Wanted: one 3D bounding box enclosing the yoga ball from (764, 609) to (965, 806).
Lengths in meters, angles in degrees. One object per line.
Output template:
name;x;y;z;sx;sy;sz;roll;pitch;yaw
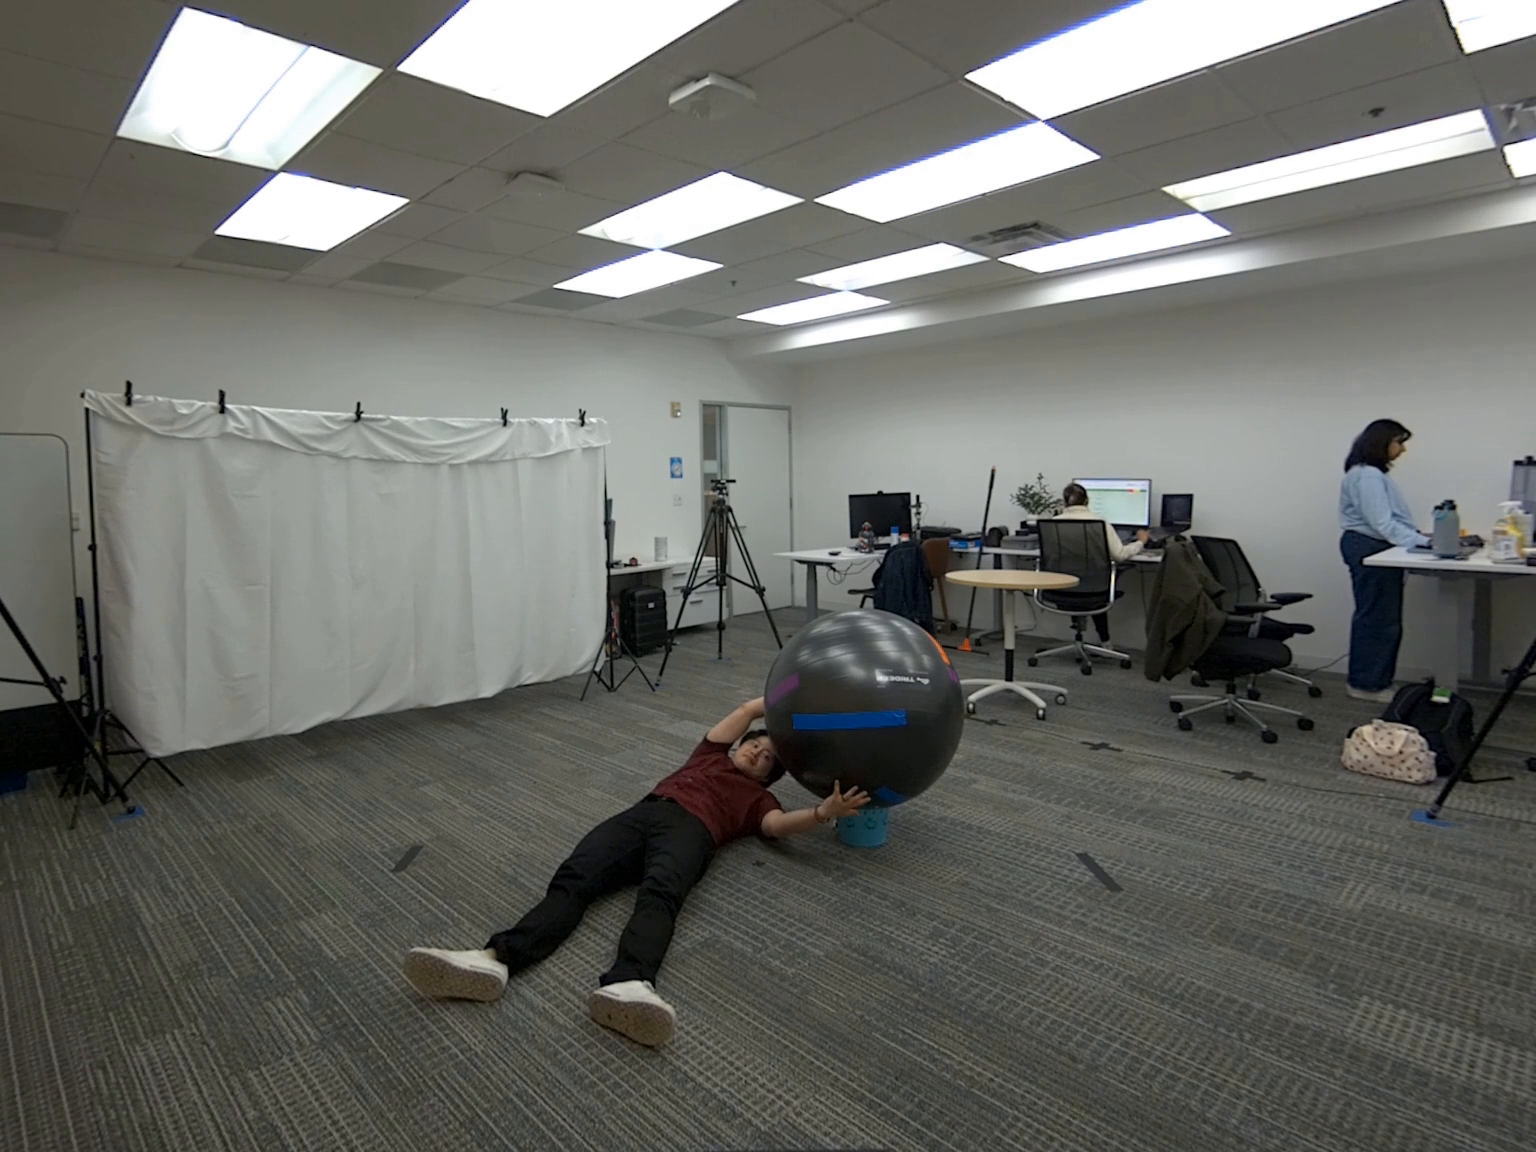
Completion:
yoga ball;0.364;0.508;3.297;0.757;0.755;0.762;-1;5;-2
